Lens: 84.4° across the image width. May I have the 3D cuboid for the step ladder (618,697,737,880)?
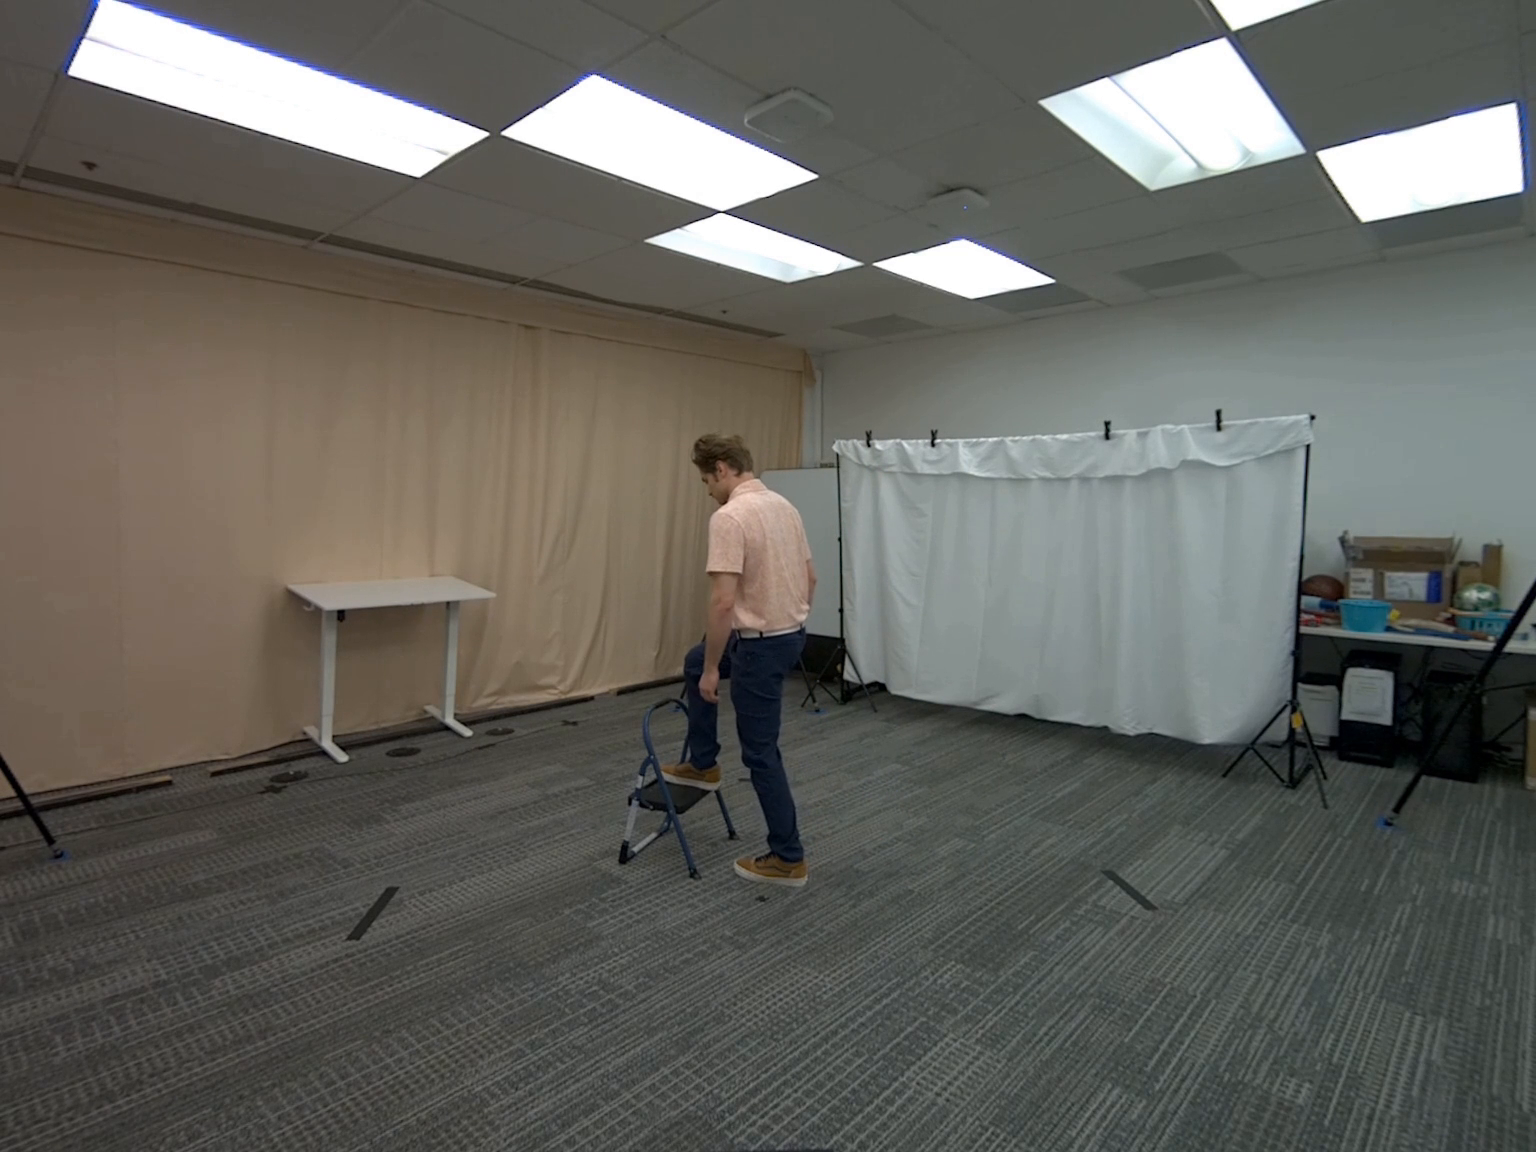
[{"bbox_3d":[-0.359,0.810,3.390,0.357,0.605,0.422,1,4,21],"label":"step ladder"}]
